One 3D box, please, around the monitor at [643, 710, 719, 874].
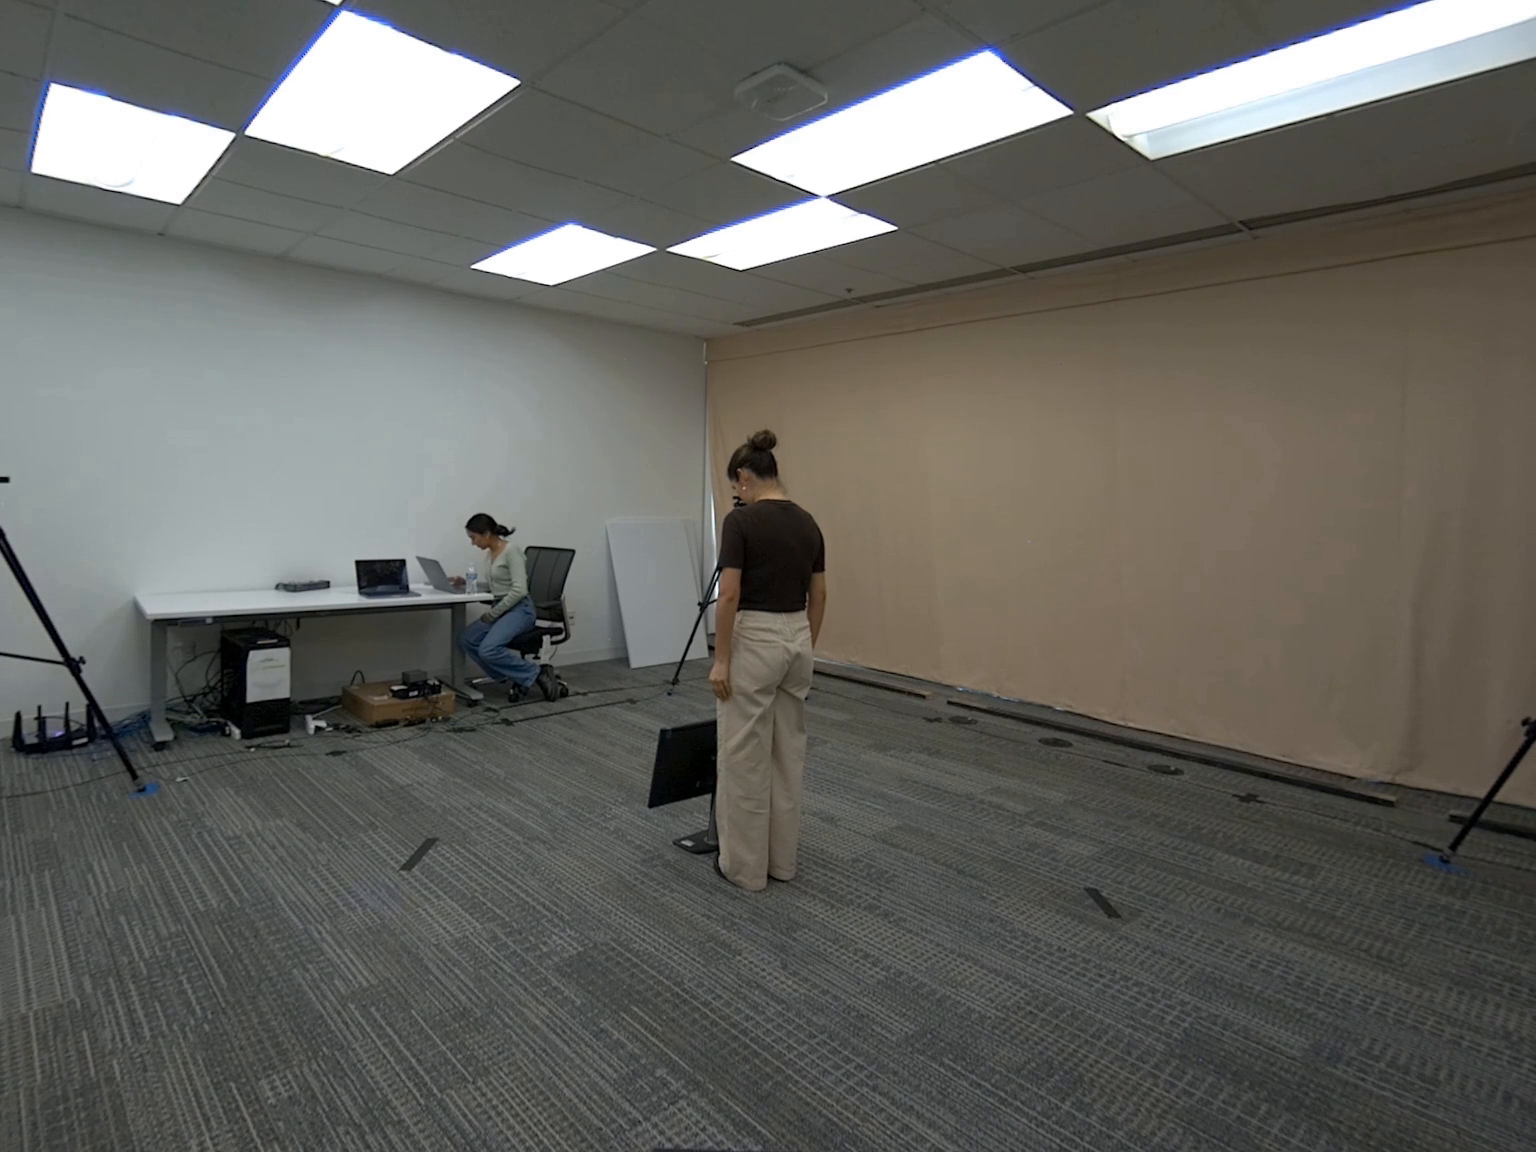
[{"bbox_3d":[-0.215,0.826,3.379,0.527,0.521,0.192,-2,6,-41],"label":"monitor"}]
